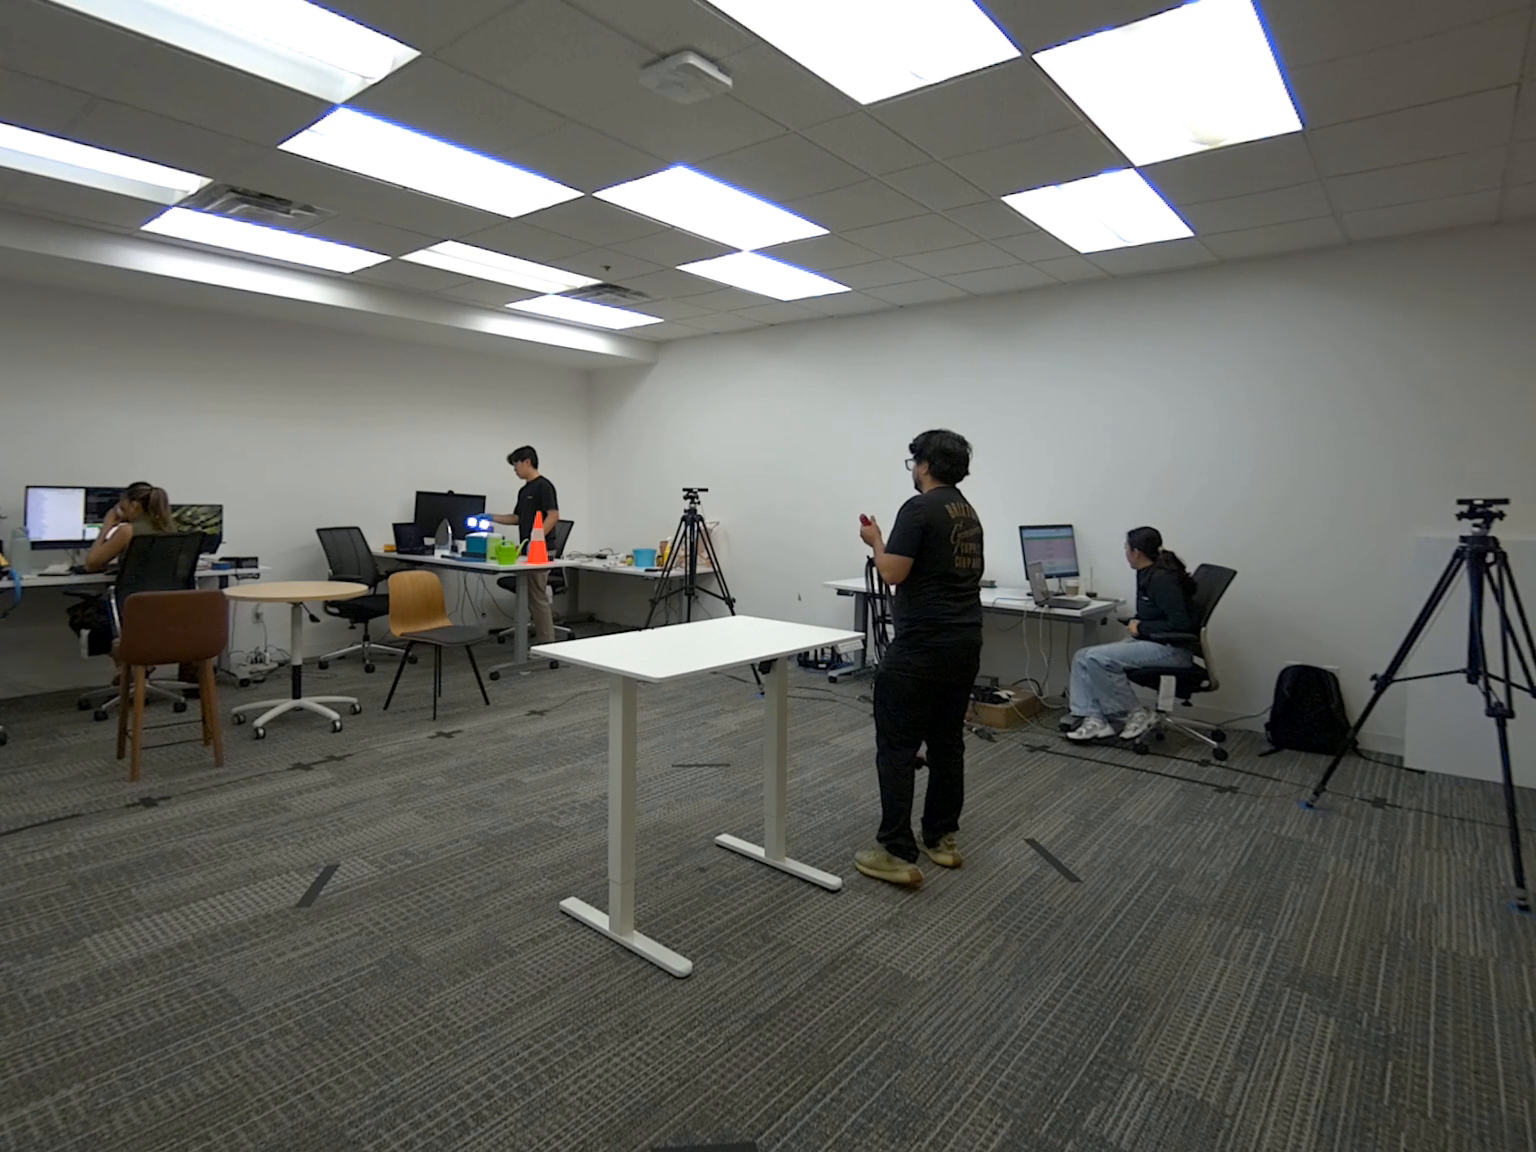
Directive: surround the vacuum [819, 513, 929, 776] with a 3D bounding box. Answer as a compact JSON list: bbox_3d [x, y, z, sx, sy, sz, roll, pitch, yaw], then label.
[{"bbox_3d":[0.463,0.266,3.419,0.142,1.039,0.259,-19,9,-25],"label":"vacuum"}]
